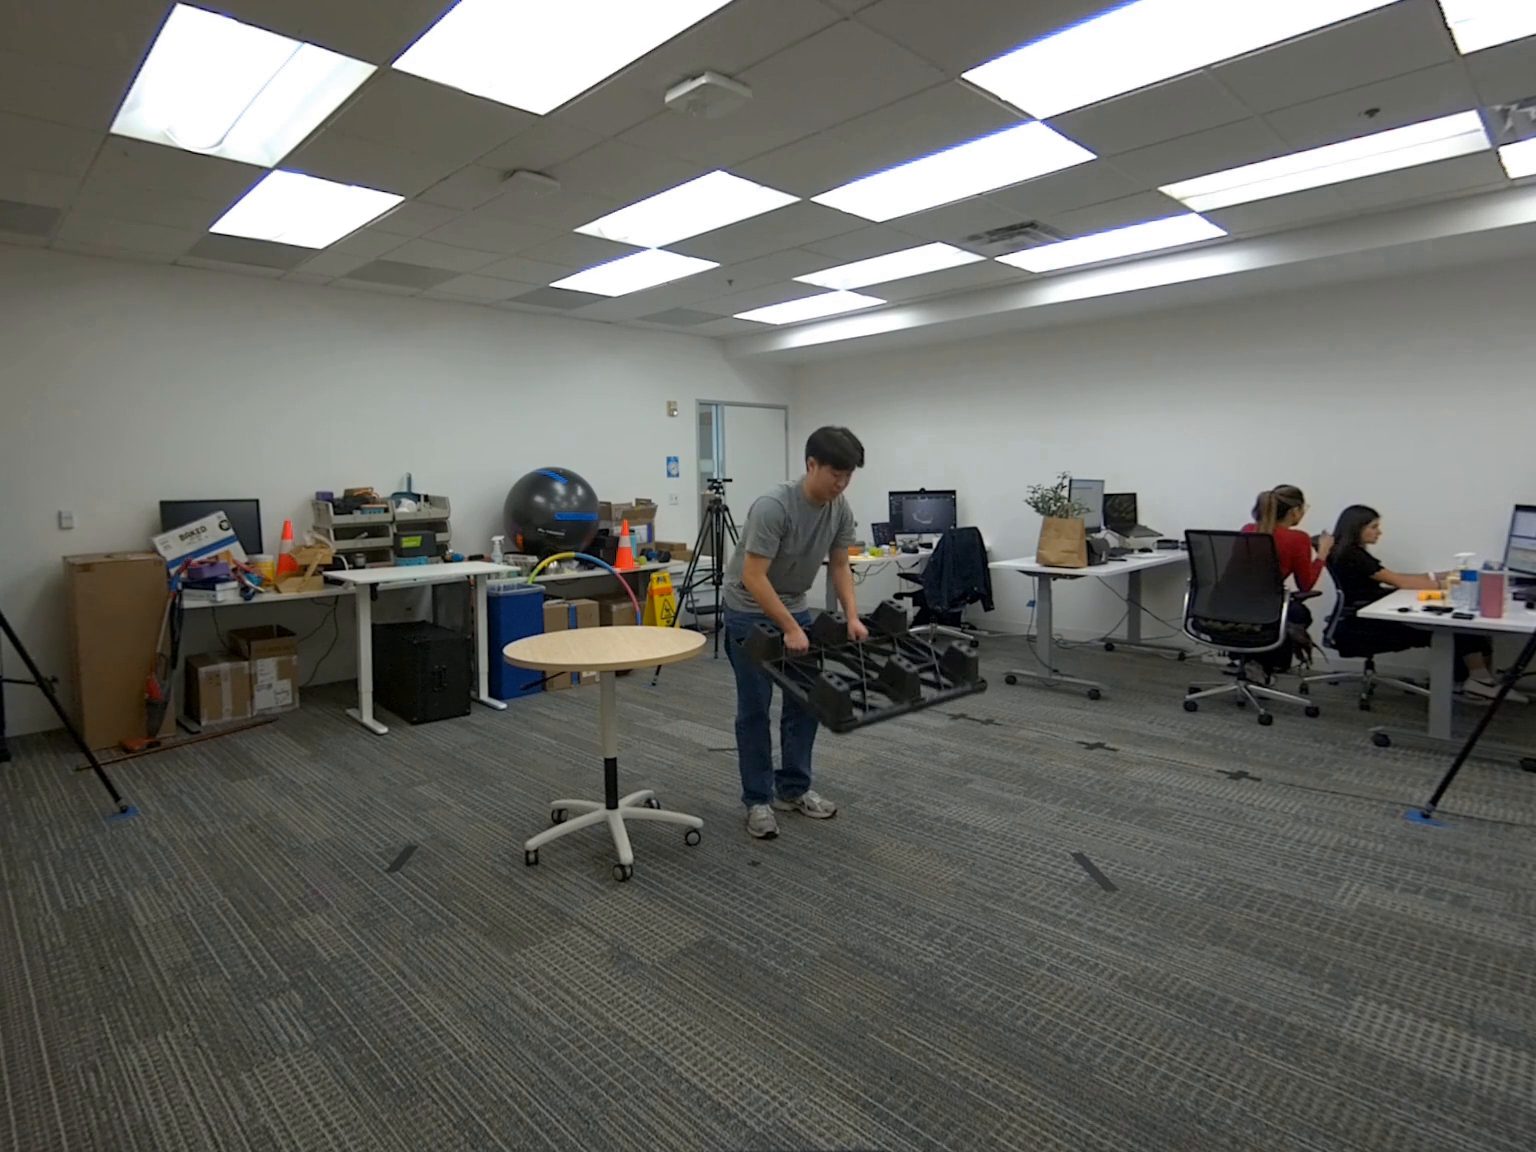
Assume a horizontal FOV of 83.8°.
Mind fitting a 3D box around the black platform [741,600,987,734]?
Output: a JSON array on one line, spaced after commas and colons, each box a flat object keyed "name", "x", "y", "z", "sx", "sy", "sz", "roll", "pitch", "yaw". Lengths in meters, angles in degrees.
[{"name": "black platform", "x": 0.363, "y": 0.292, "z": 3.202, "sx": 0.785, "sy": 0.141, "sz": 0.629, "roll": -8, "pitch": 29, "yaw": -38}]
